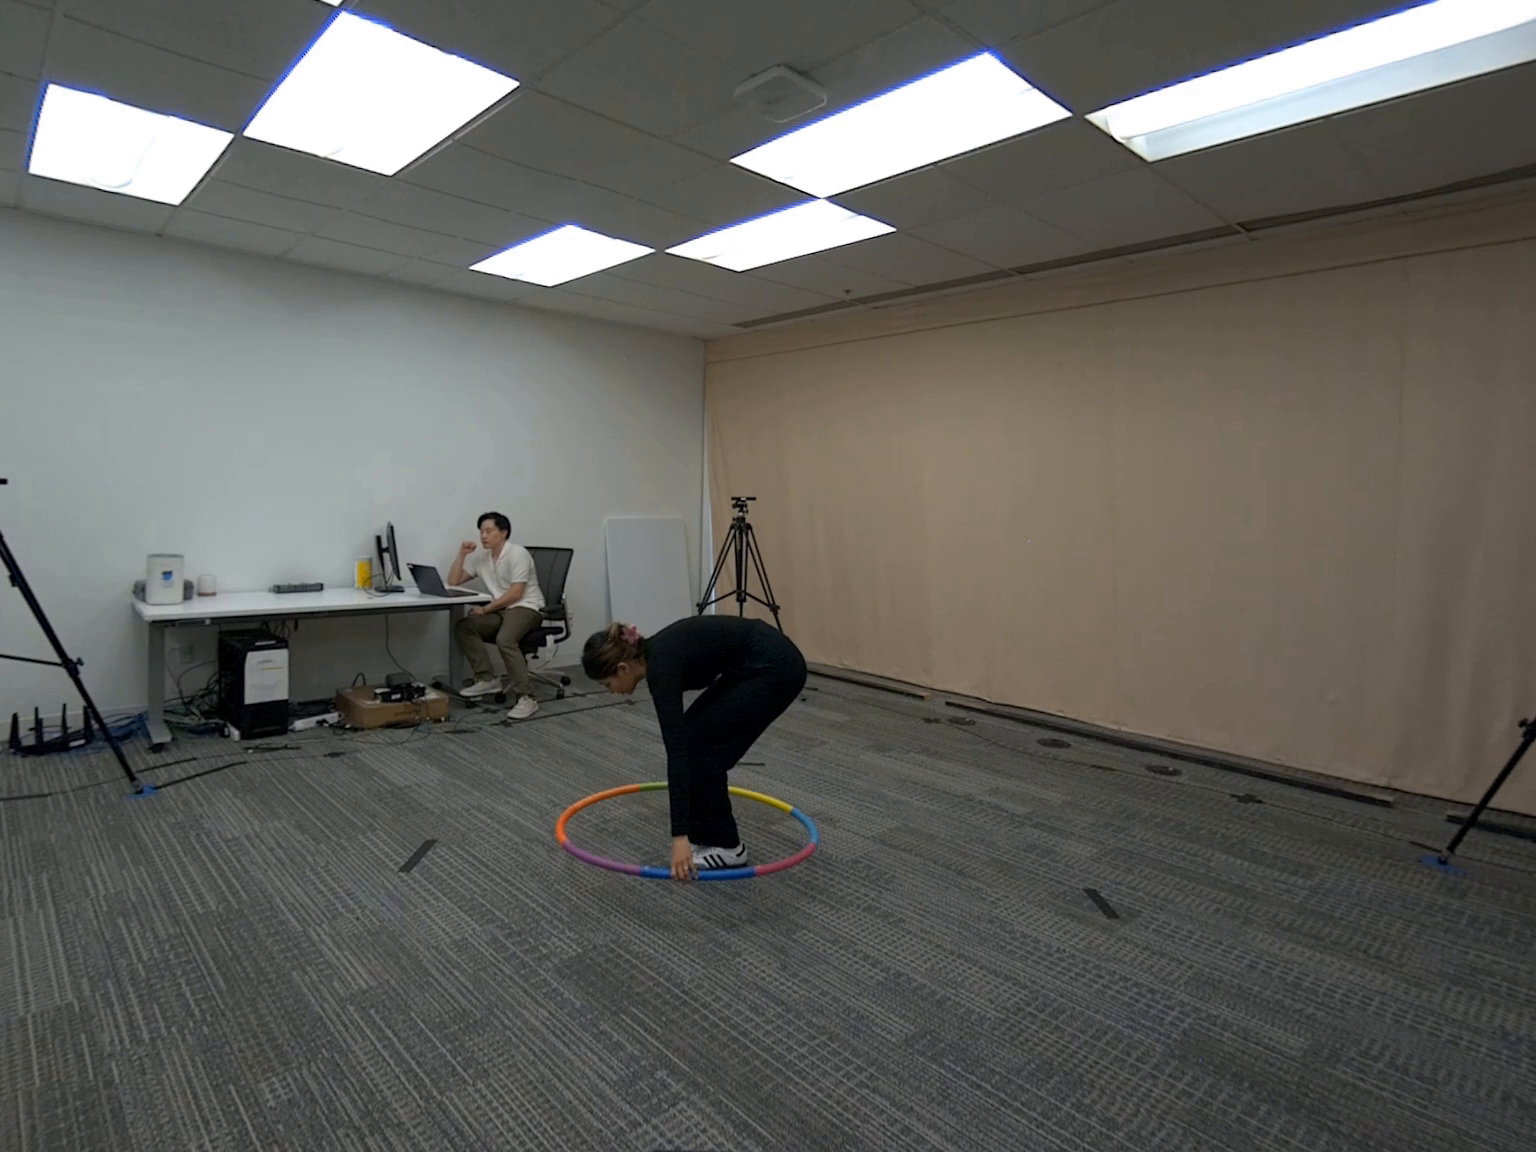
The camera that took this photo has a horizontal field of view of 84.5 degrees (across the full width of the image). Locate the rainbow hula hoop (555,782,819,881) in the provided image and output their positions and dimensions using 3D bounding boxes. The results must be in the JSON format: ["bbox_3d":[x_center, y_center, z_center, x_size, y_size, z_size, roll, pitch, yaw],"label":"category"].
[{"bbox_3d":[-0.307,0.949,3.208,0.978,0.035,0.981,3,3,-1],"label":"rainbow hula hoop"}]
